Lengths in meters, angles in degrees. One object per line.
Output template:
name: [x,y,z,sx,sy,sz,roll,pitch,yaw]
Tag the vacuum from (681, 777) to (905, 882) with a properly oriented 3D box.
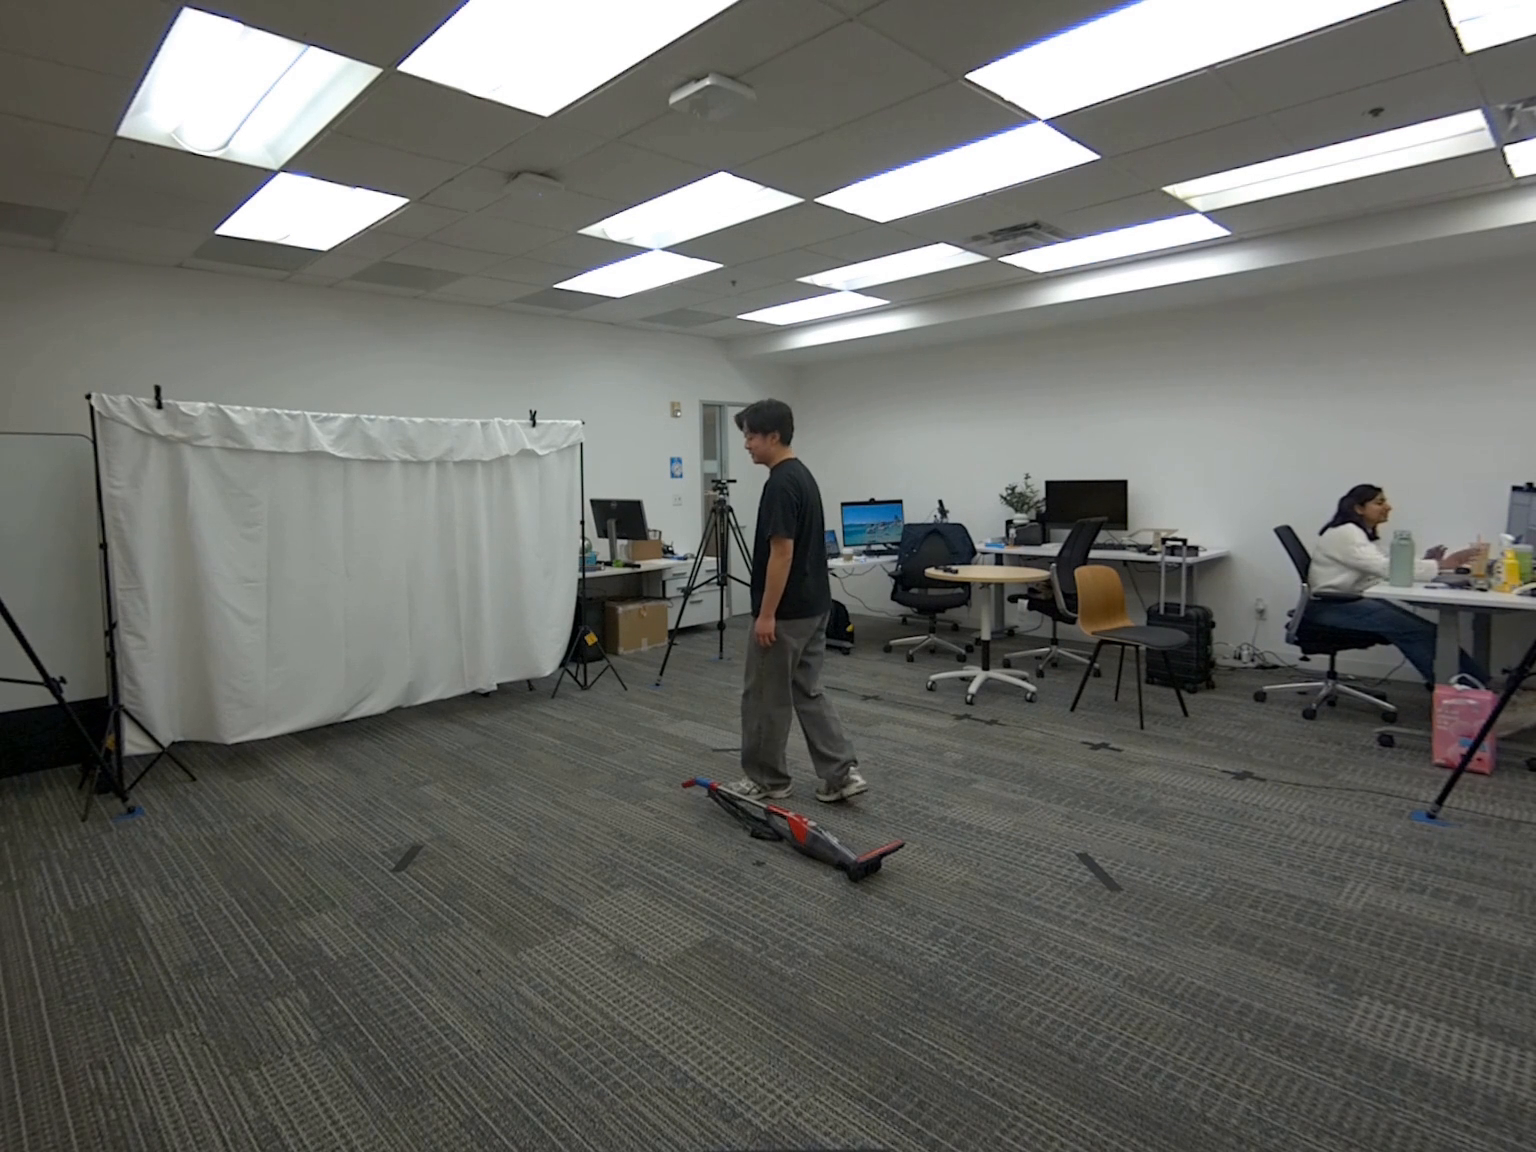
vacuum: [0.006,0.965,3.352,0.246,0.143,1.082,-4,6,-41]
